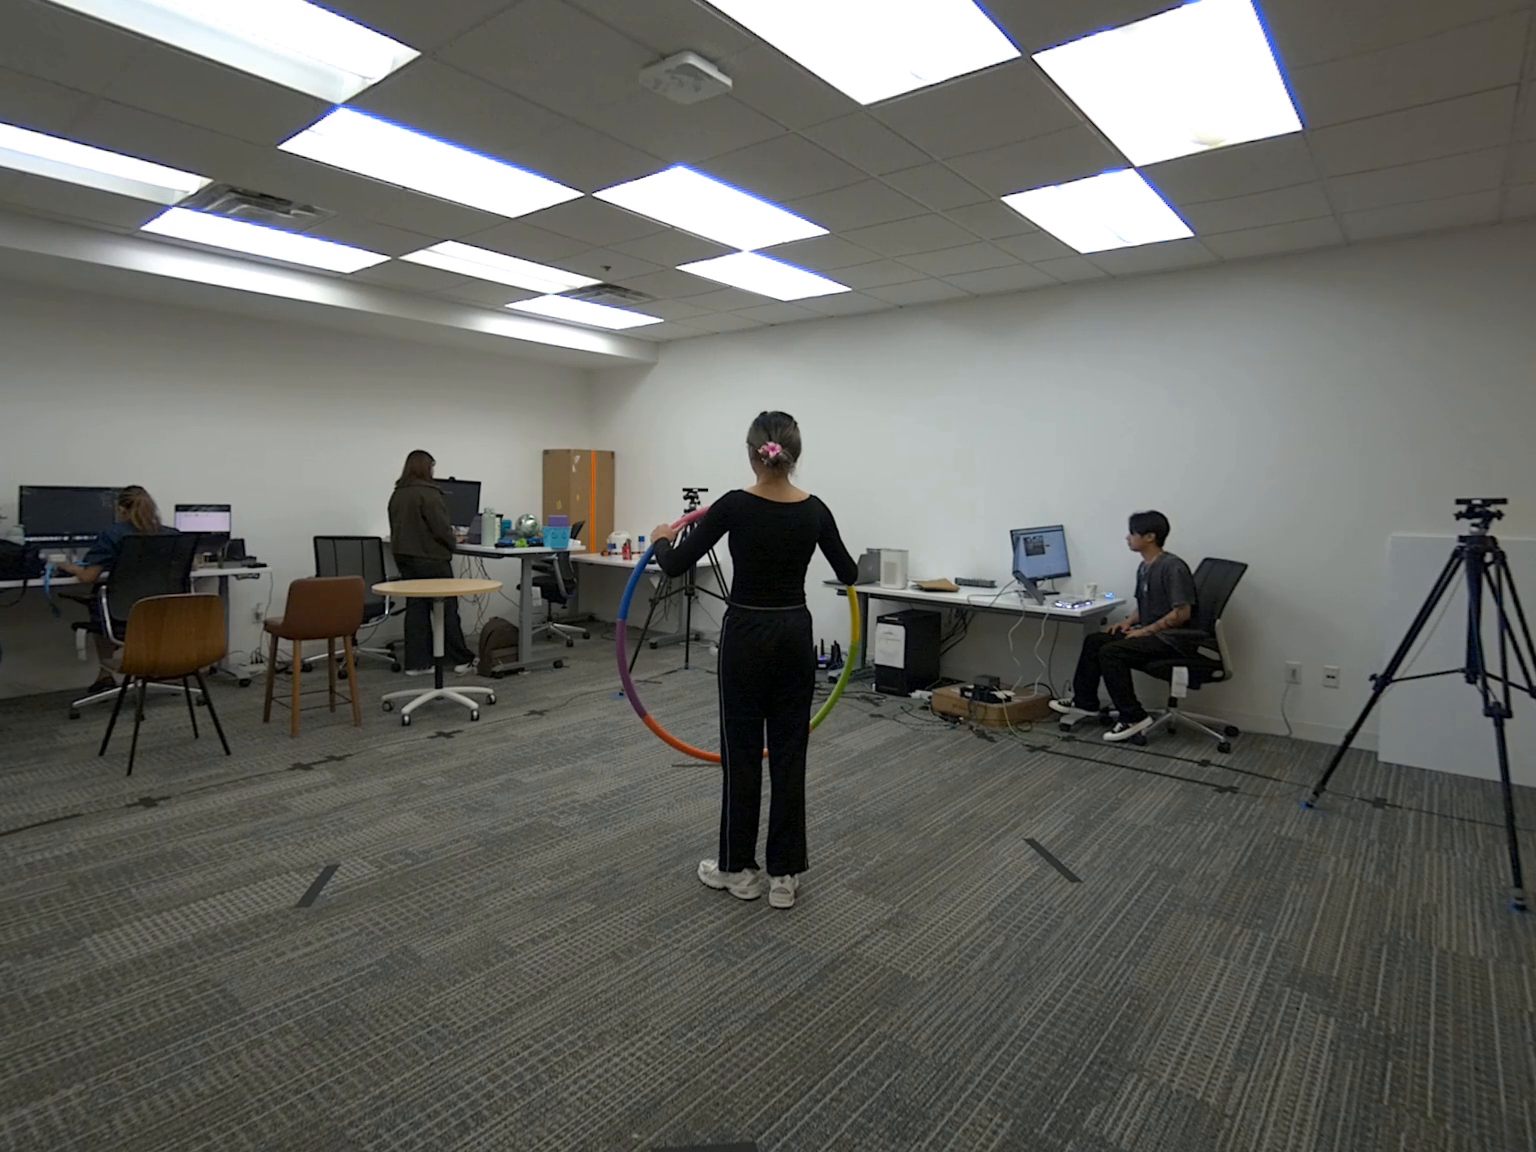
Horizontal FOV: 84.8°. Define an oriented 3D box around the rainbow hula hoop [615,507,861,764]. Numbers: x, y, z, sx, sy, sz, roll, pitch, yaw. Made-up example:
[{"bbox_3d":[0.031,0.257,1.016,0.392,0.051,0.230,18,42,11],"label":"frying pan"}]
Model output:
[{"bbox_3d":[-0.108,0.216,3.216,0.960,0.977,0.036,-1,1,-18],"label":"rainbow hula hoop"}]
